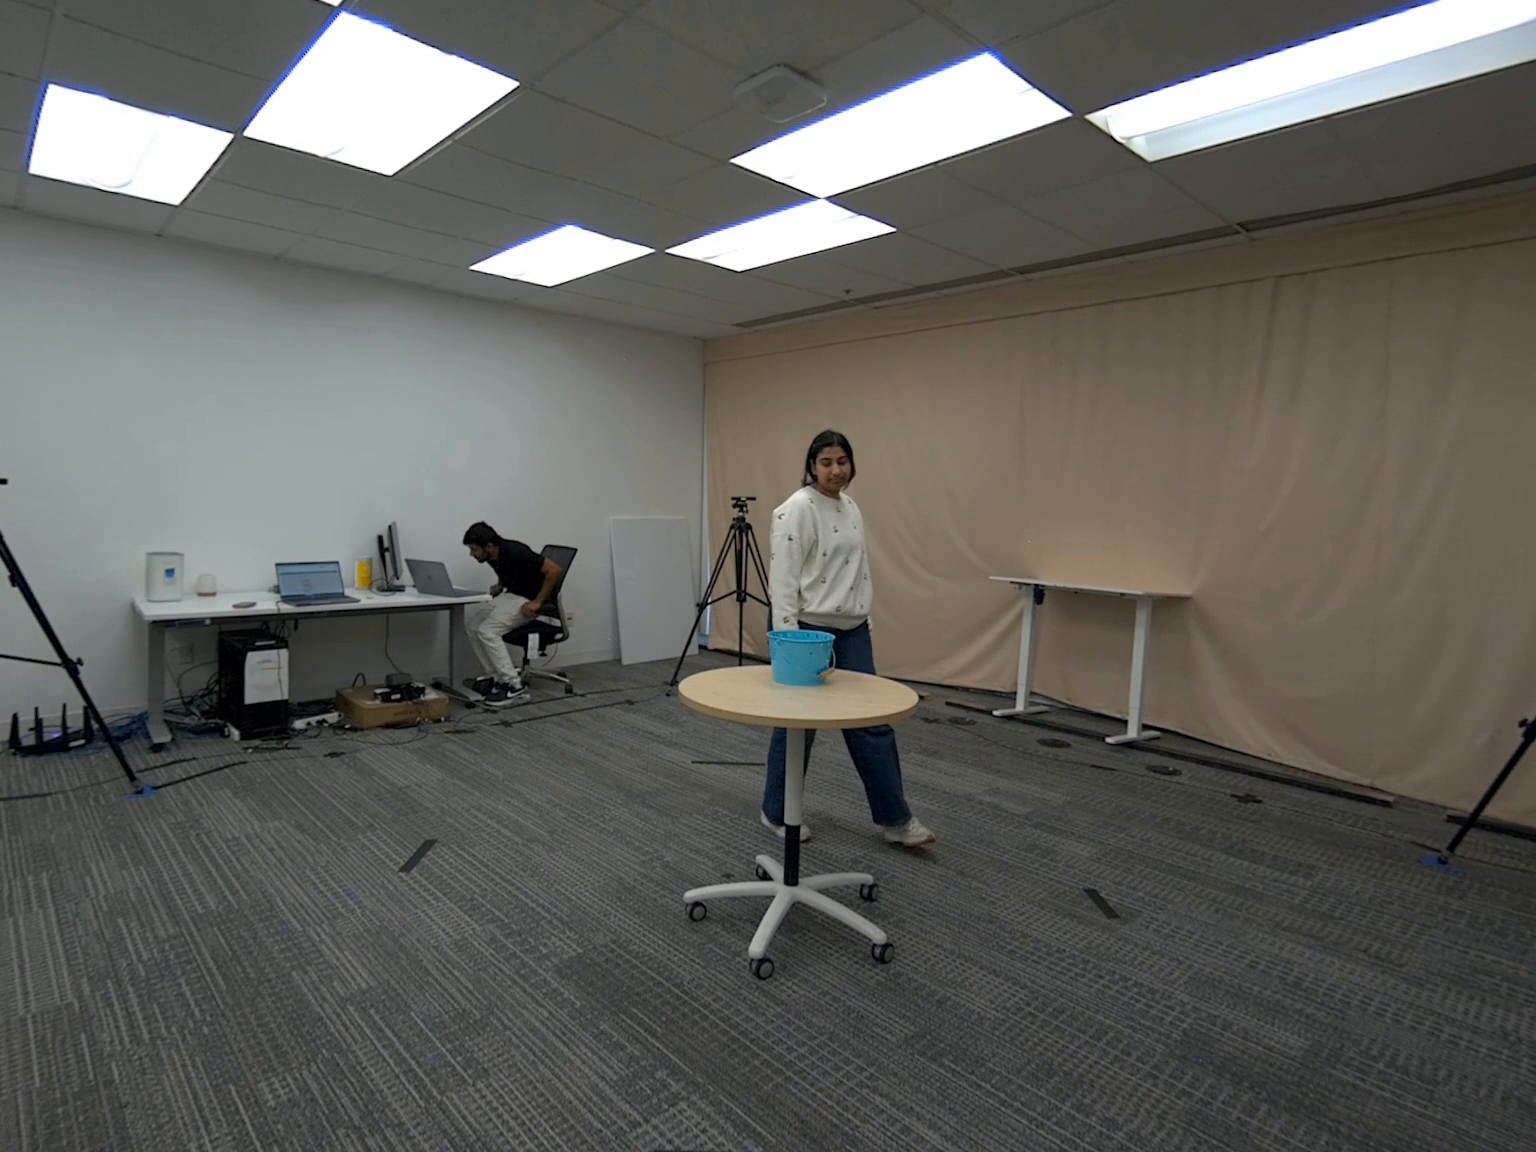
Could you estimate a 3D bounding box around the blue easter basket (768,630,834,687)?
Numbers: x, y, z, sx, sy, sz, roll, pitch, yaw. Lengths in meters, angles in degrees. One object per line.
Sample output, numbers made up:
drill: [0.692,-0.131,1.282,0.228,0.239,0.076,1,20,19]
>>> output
blue easter basket: [0.105,0.283,2.843,0.243,0.155,0.244,1,4,-1]
